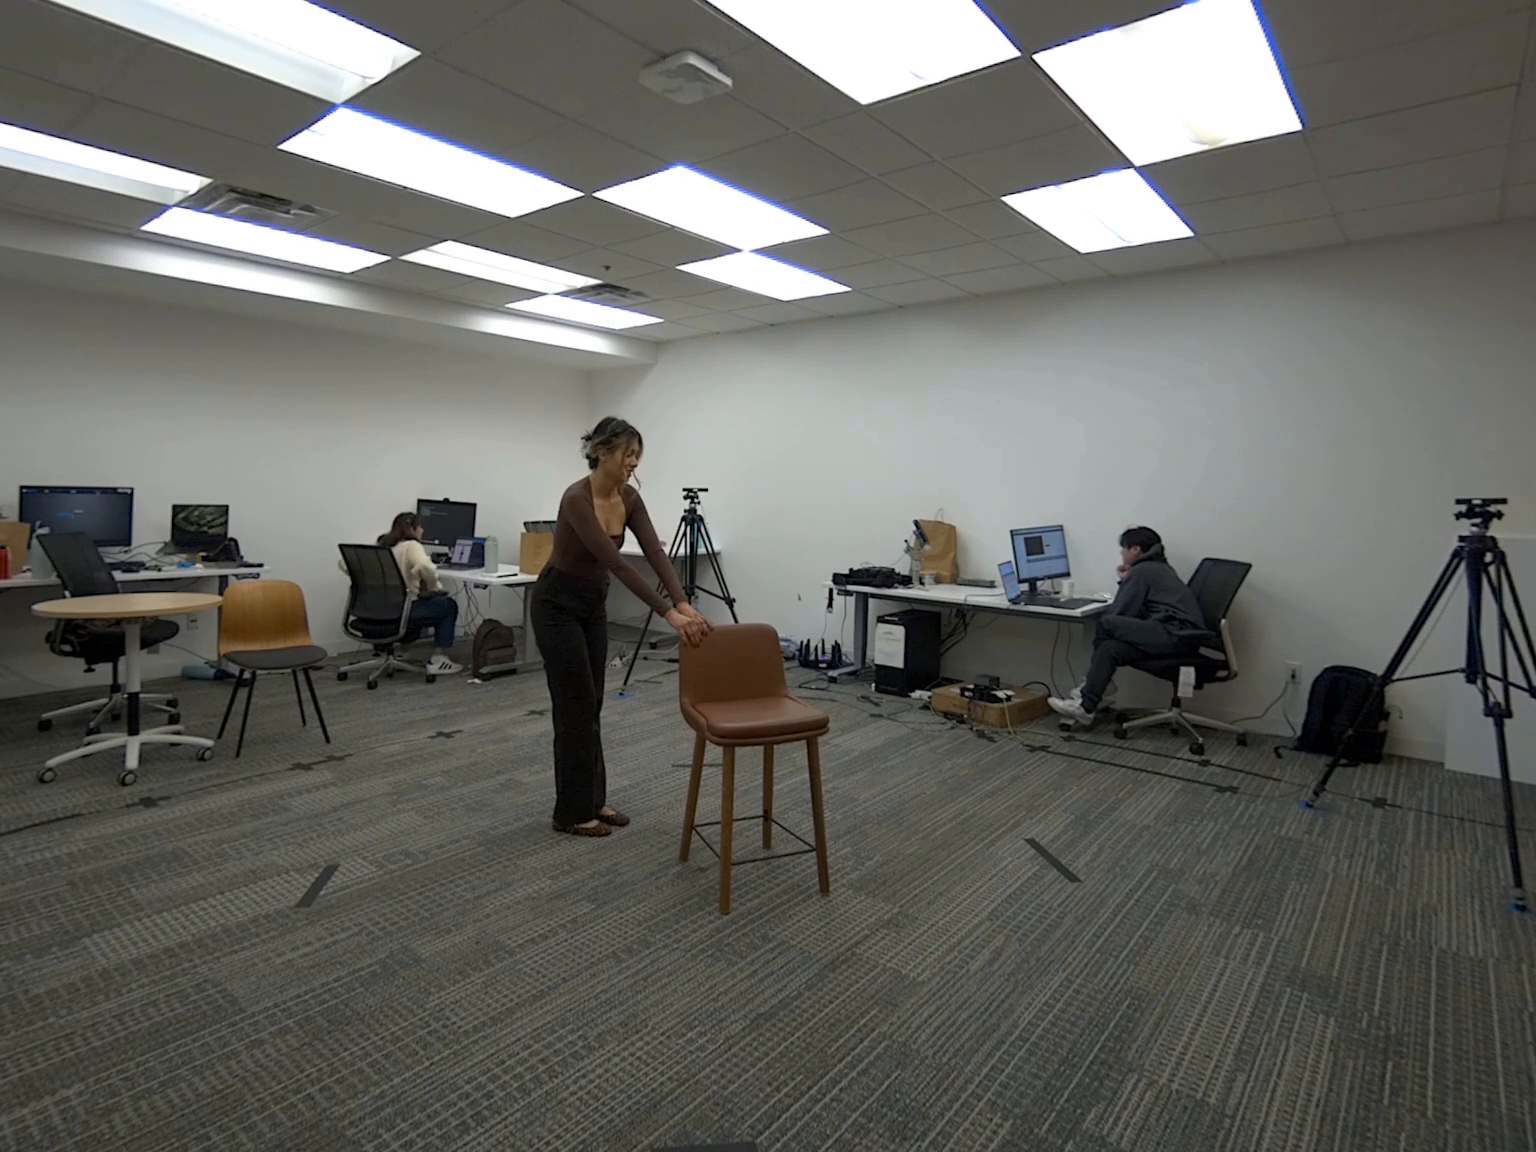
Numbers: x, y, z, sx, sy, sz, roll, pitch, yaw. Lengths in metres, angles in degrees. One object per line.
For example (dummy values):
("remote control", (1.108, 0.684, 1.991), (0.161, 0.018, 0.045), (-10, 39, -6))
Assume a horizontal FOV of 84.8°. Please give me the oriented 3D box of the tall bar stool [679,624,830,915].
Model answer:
("tall bar stool", (-0.070, 0.642, 3.046), (0.446, 0.889, 0.479), (0, 1, -25))
